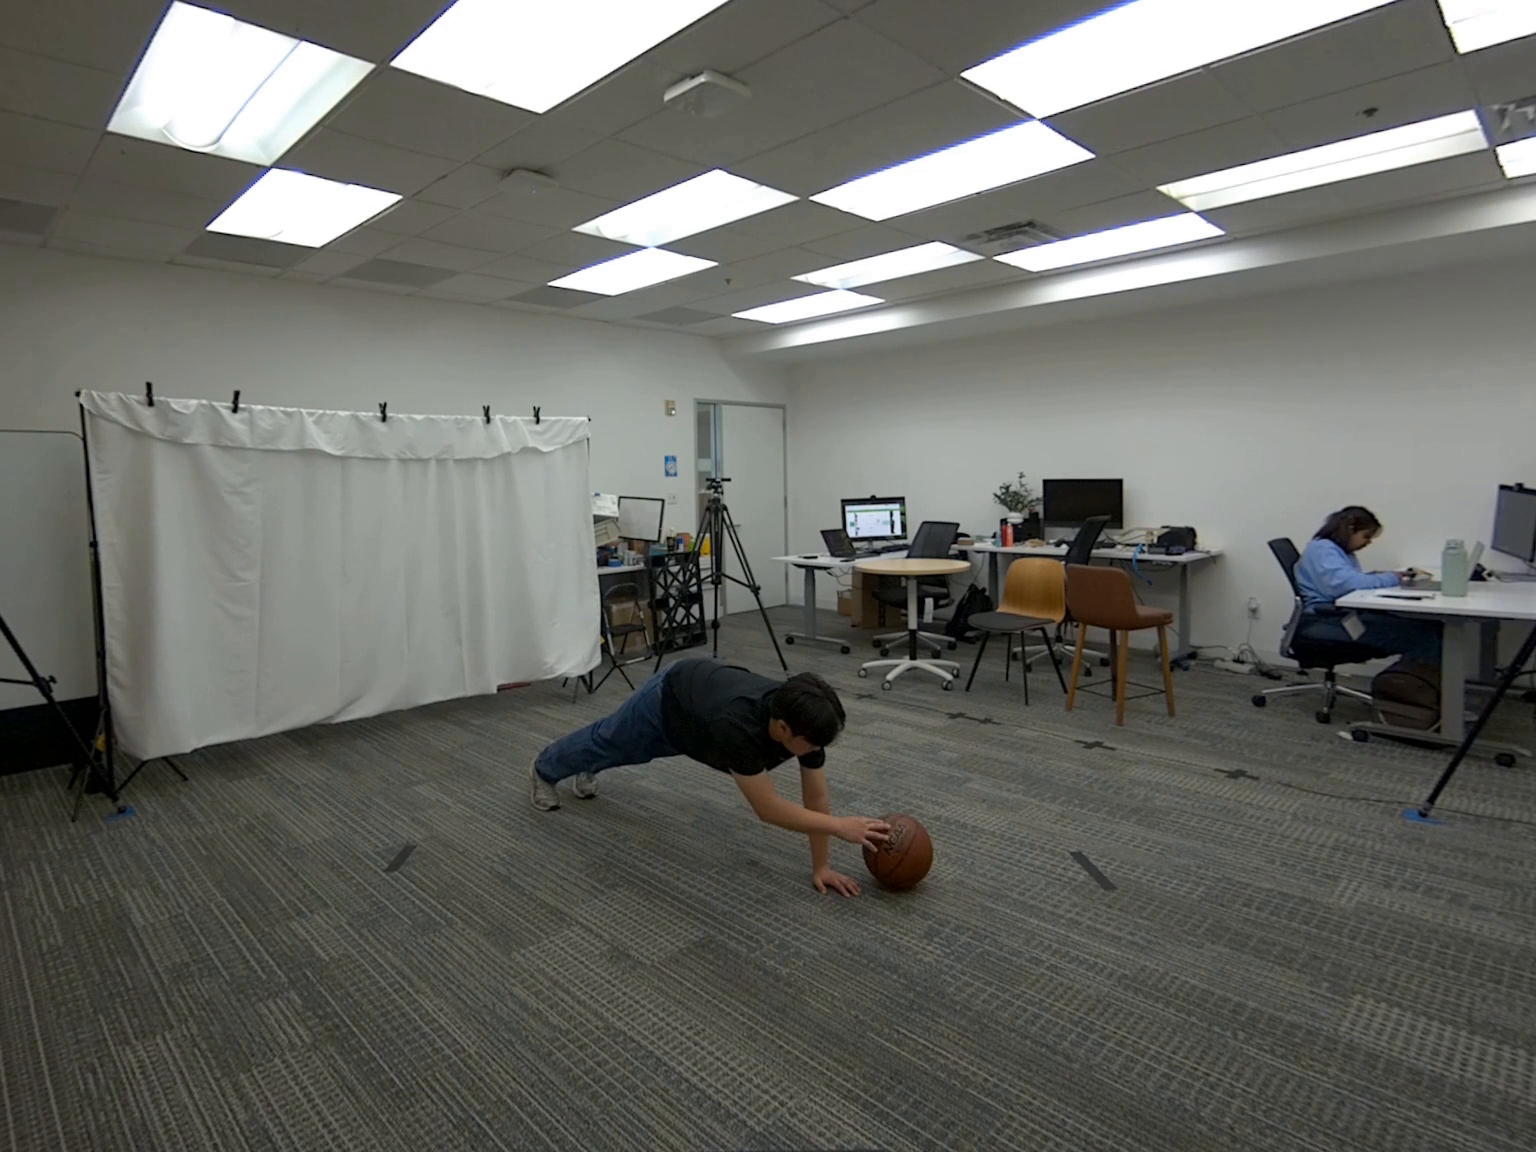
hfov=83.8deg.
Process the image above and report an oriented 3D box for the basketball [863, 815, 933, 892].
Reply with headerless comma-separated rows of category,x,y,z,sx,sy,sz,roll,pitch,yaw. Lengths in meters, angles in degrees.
basketball,0.442,0.931,2.906,0.236,0.235,0.237,-1,5,-2
